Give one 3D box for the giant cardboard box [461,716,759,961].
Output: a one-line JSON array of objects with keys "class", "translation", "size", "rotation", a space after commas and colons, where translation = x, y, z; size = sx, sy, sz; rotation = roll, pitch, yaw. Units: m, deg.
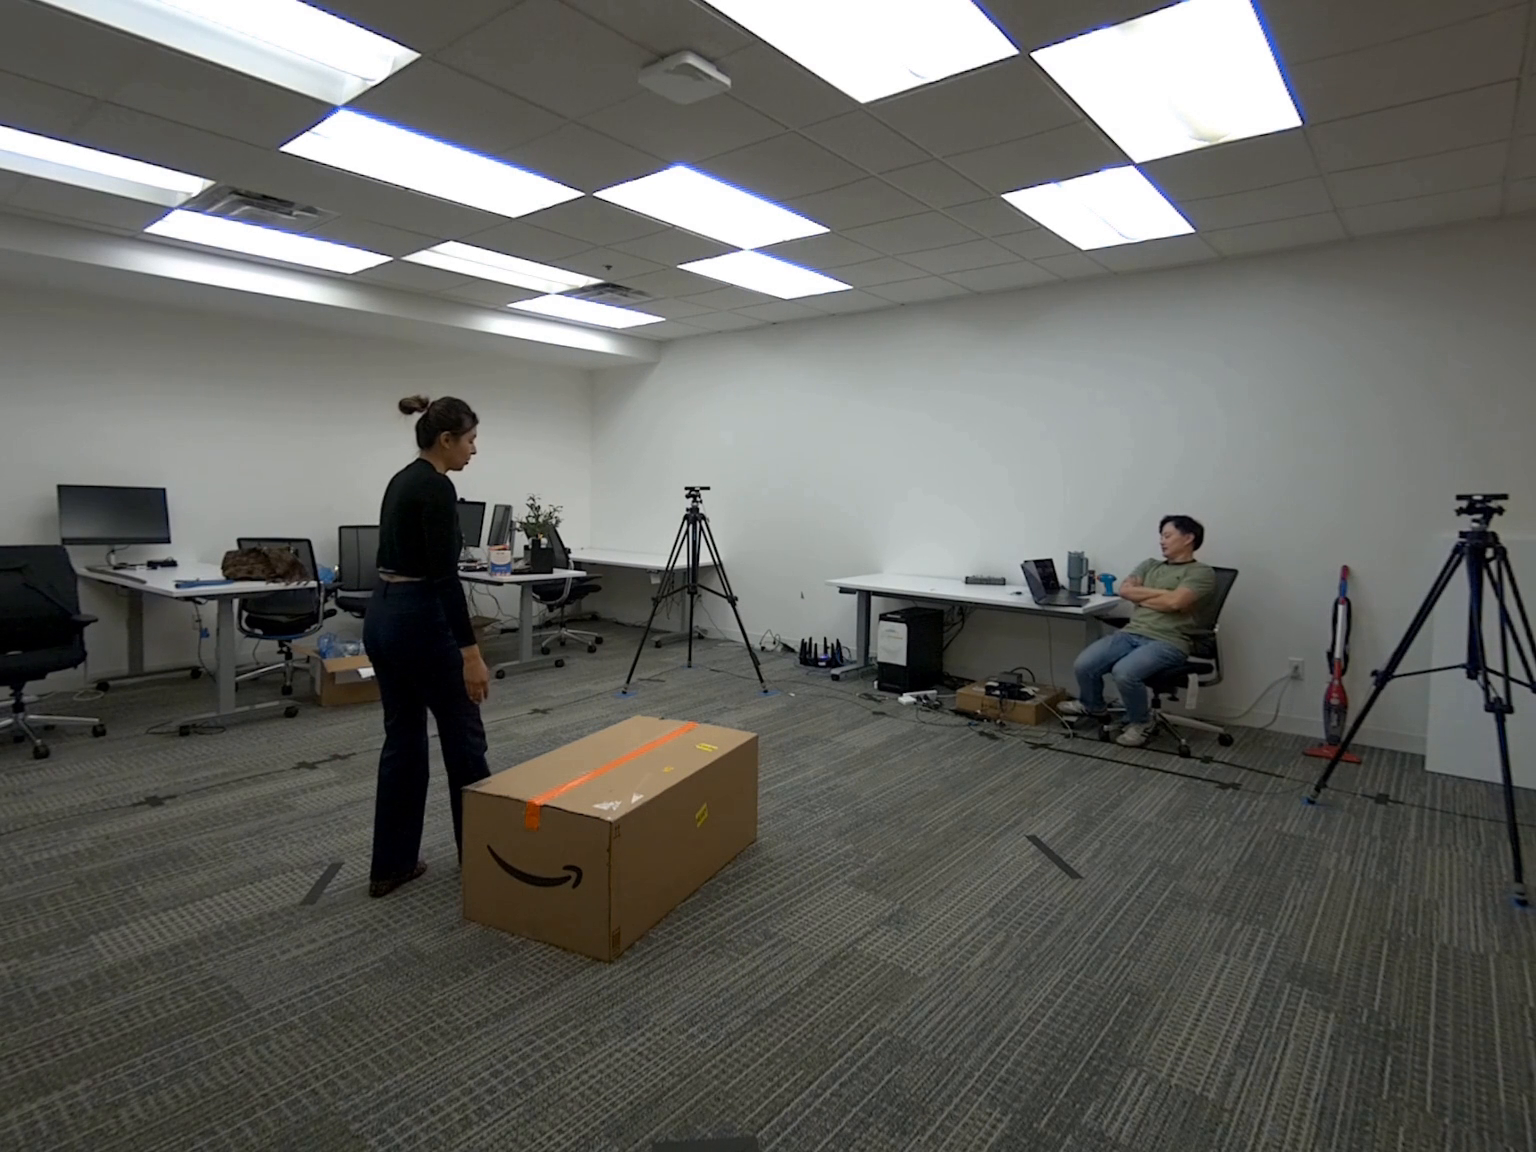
[{"class": "giant cardboard box", "translation": [-0.516, 0.856, 3.035], "size": [0.592, 0.425, 1.003], "rotation": [2, 5, 25]}]
